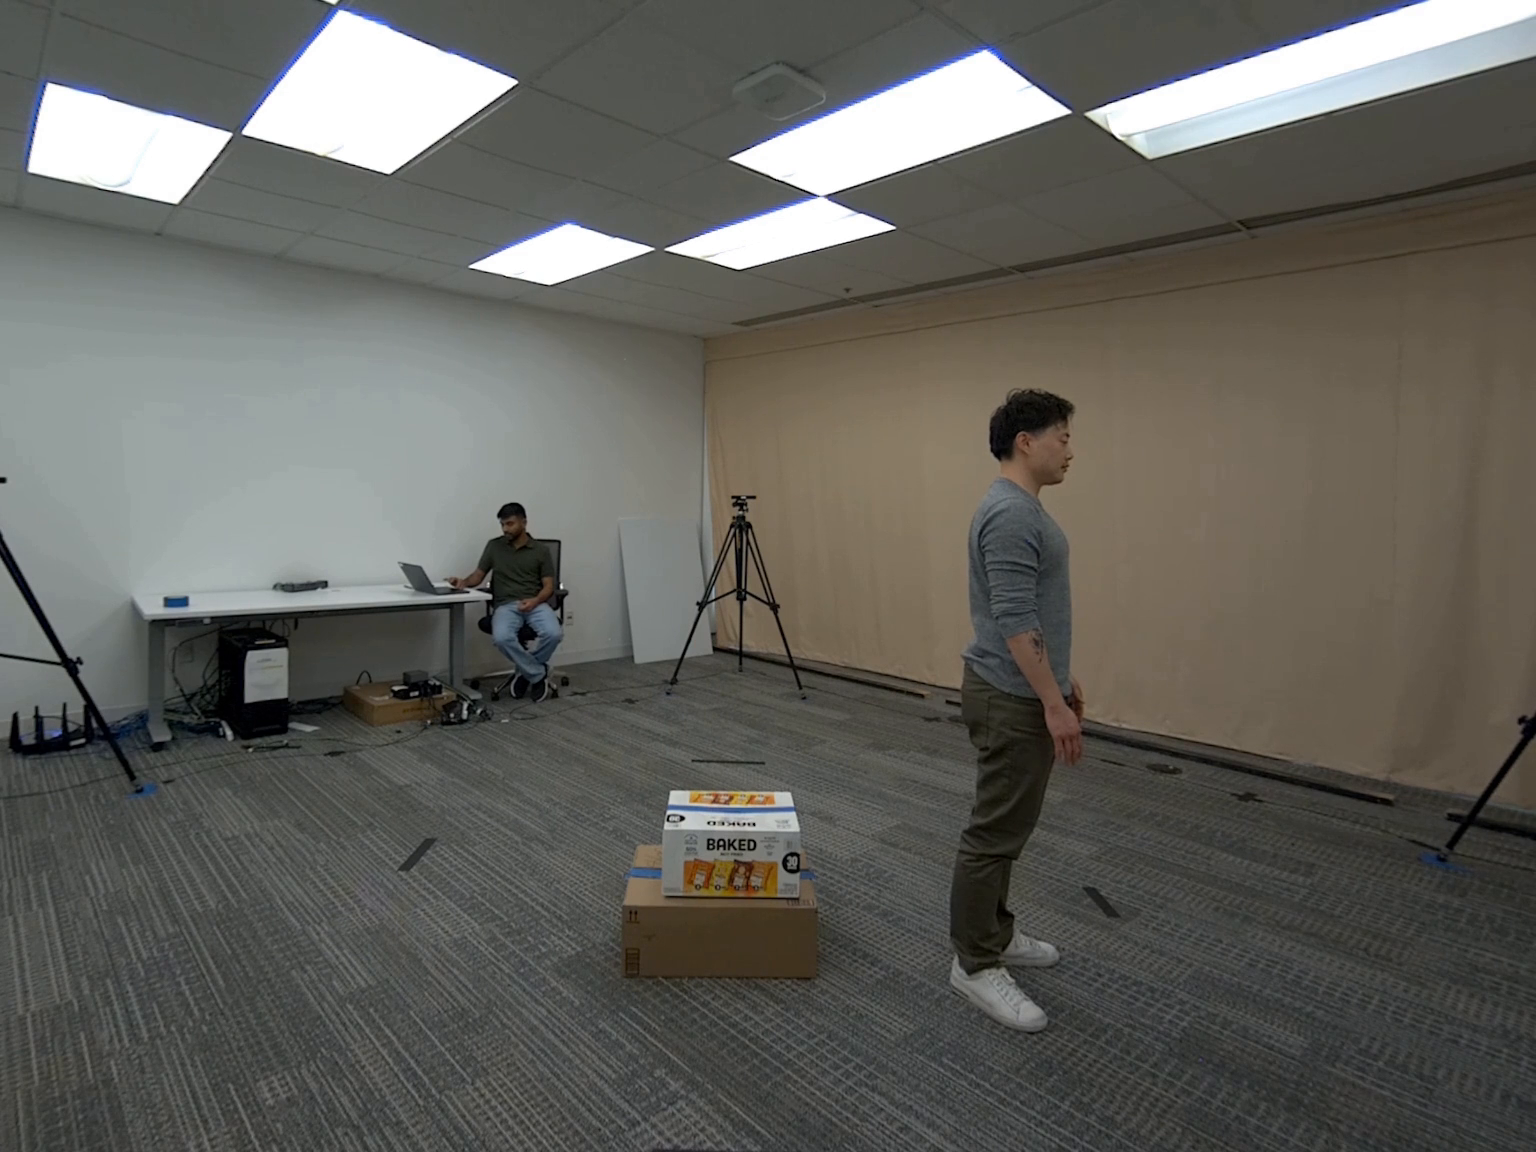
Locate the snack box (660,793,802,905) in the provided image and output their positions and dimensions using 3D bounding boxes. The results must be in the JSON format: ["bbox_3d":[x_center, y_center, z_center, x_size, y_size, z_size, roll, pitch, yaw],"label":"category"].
[{"bbox_3d":[-0.119,0.832,2.621,0.405,0.205,0.341,1,3,-2],"label":"snack box"}]
